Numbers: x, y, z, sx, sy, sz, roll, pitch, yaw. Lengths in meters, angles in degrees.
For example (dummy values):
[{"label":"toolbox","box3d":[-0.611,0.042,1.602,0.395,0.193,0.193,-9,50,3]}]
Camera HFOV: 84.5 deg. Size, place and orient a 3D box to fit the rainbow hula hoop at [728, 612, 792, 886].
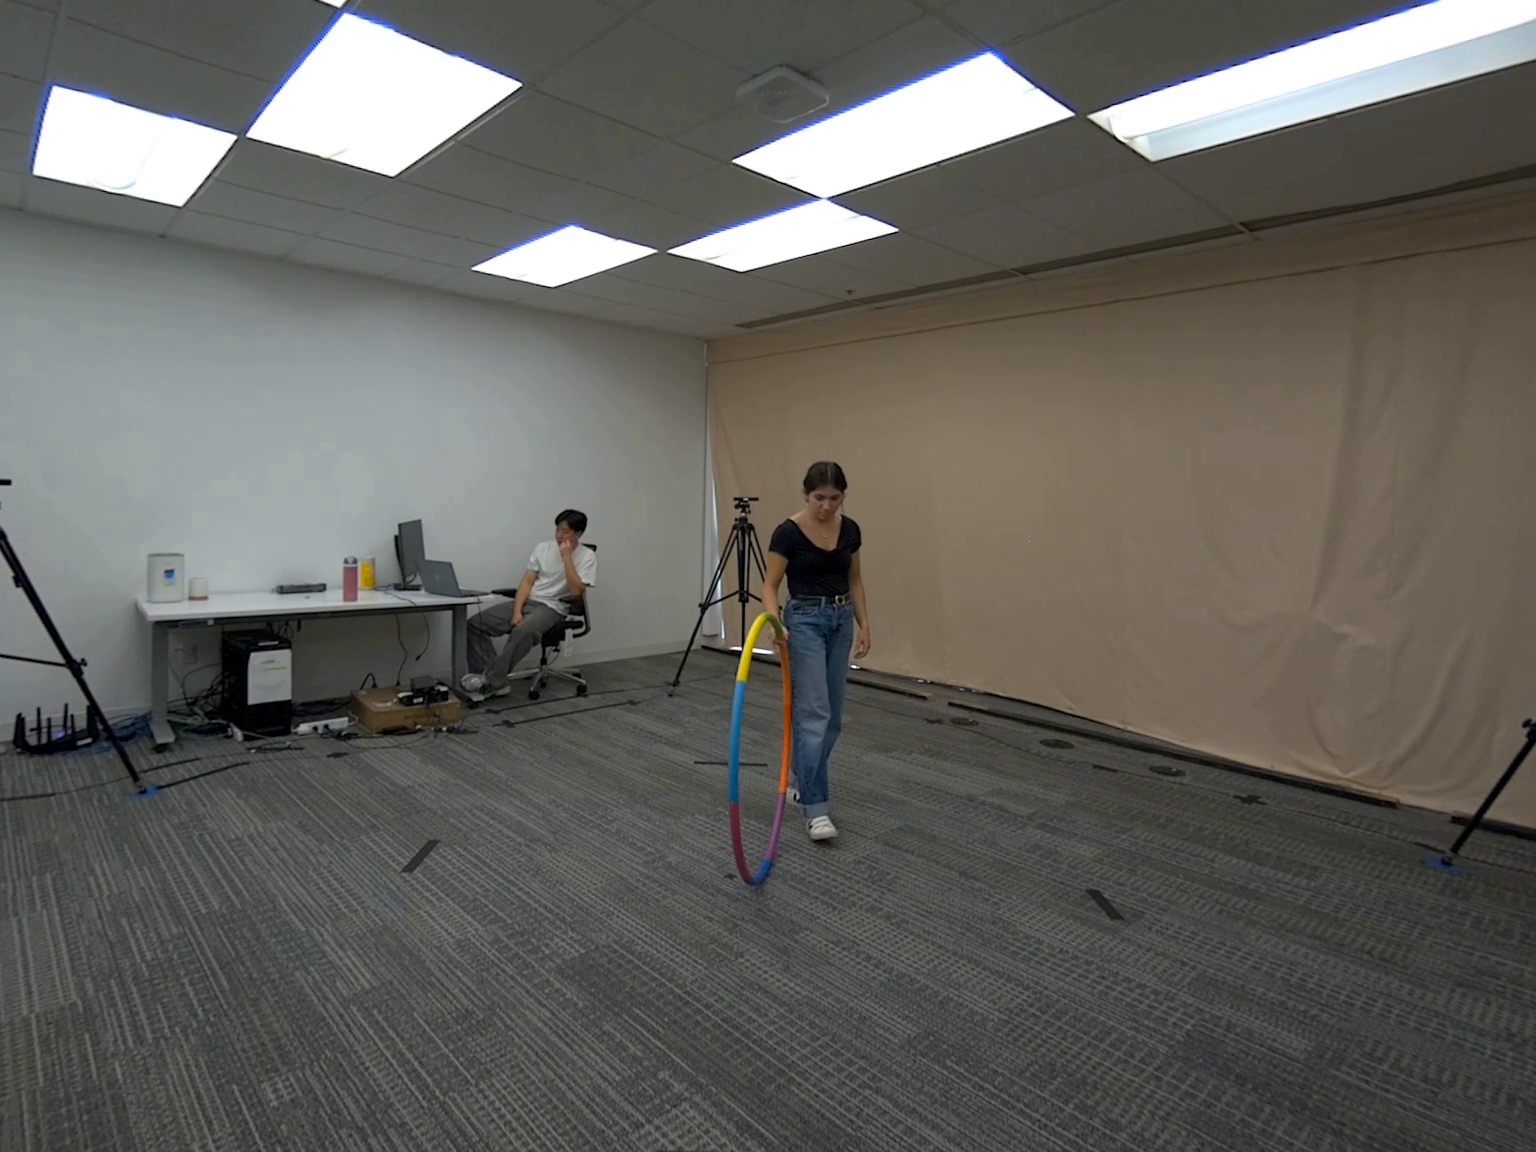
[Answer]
[{"label":"rainbow hula hoop","box3d":[-0.022,0.630,3.099,0.036,0.976,0.971,0,4,11]}]
